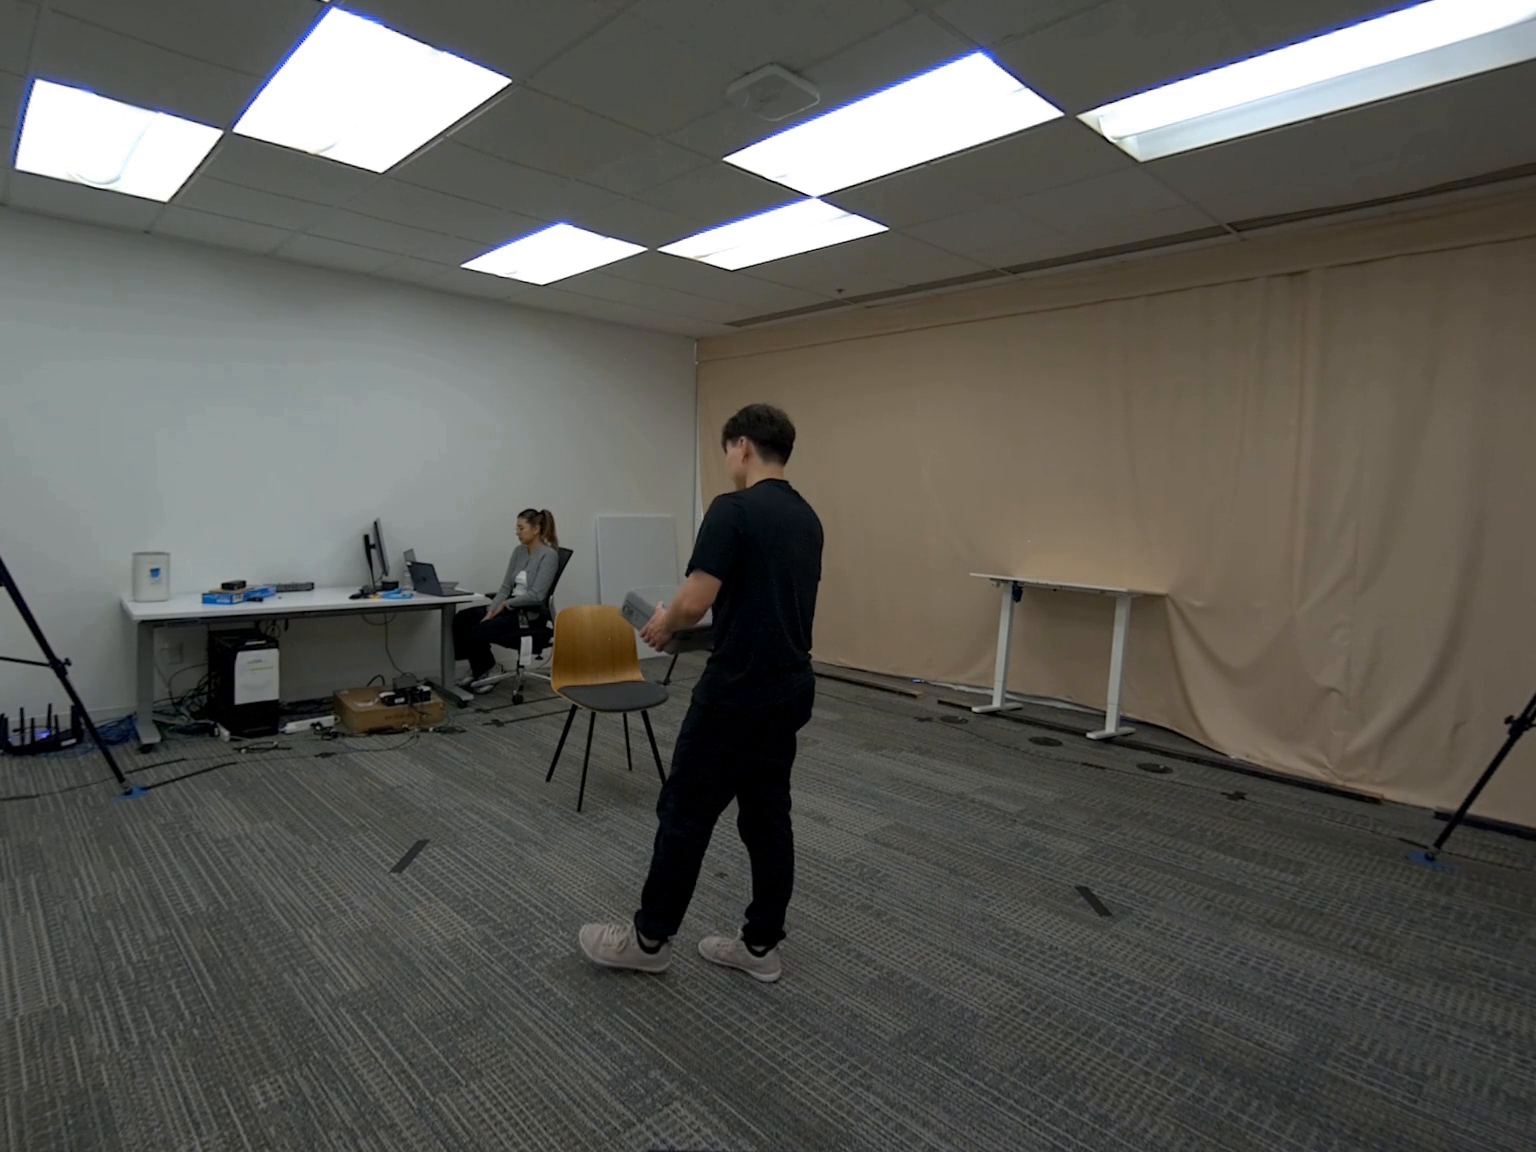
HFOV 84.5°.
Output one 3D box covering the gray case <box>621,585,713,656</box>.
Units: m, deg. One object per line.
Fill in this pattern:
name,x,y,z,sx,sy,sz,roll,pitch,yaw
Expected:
gray case,-0.306,0.123,2.643,0.268,0.103,0.251,35,24,34
